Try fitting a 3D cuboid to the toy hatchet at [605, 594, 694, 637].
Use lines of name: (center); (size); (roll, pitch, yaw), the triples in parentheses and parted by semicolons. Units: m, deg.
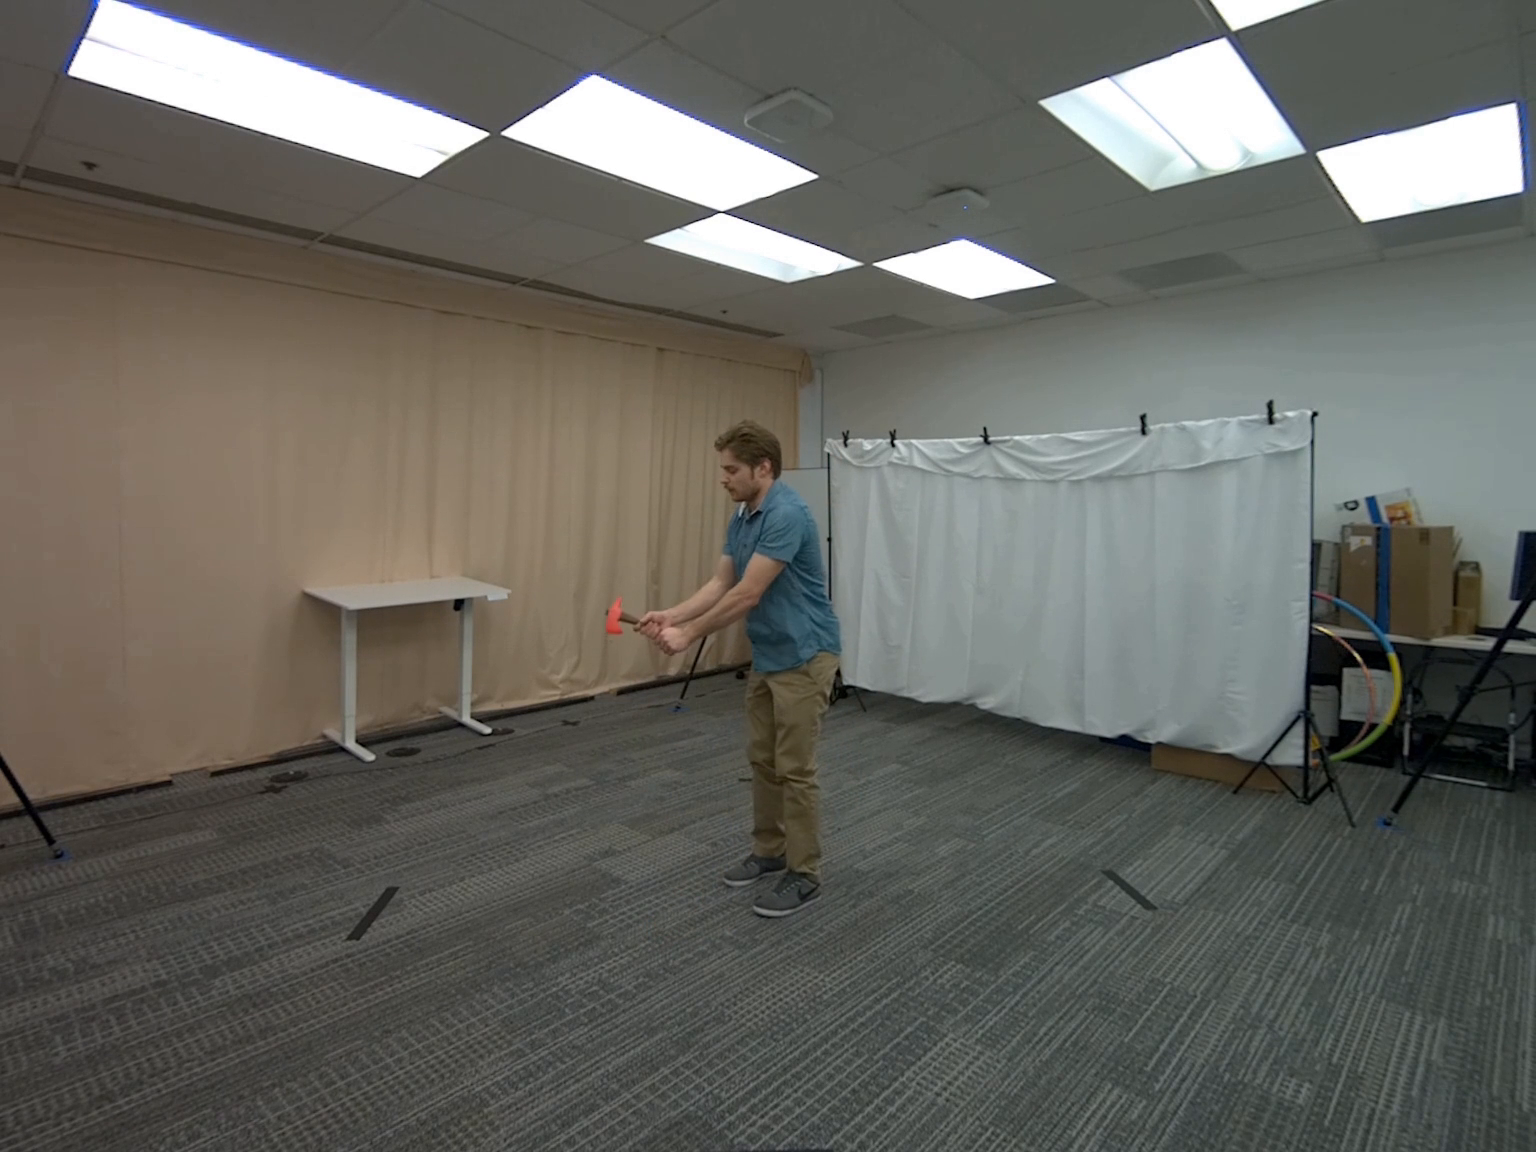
toy hatchet: (-0.429, 0.205, 2.888); (0.273, 0.130, 0.029); (34, -23, 8)
